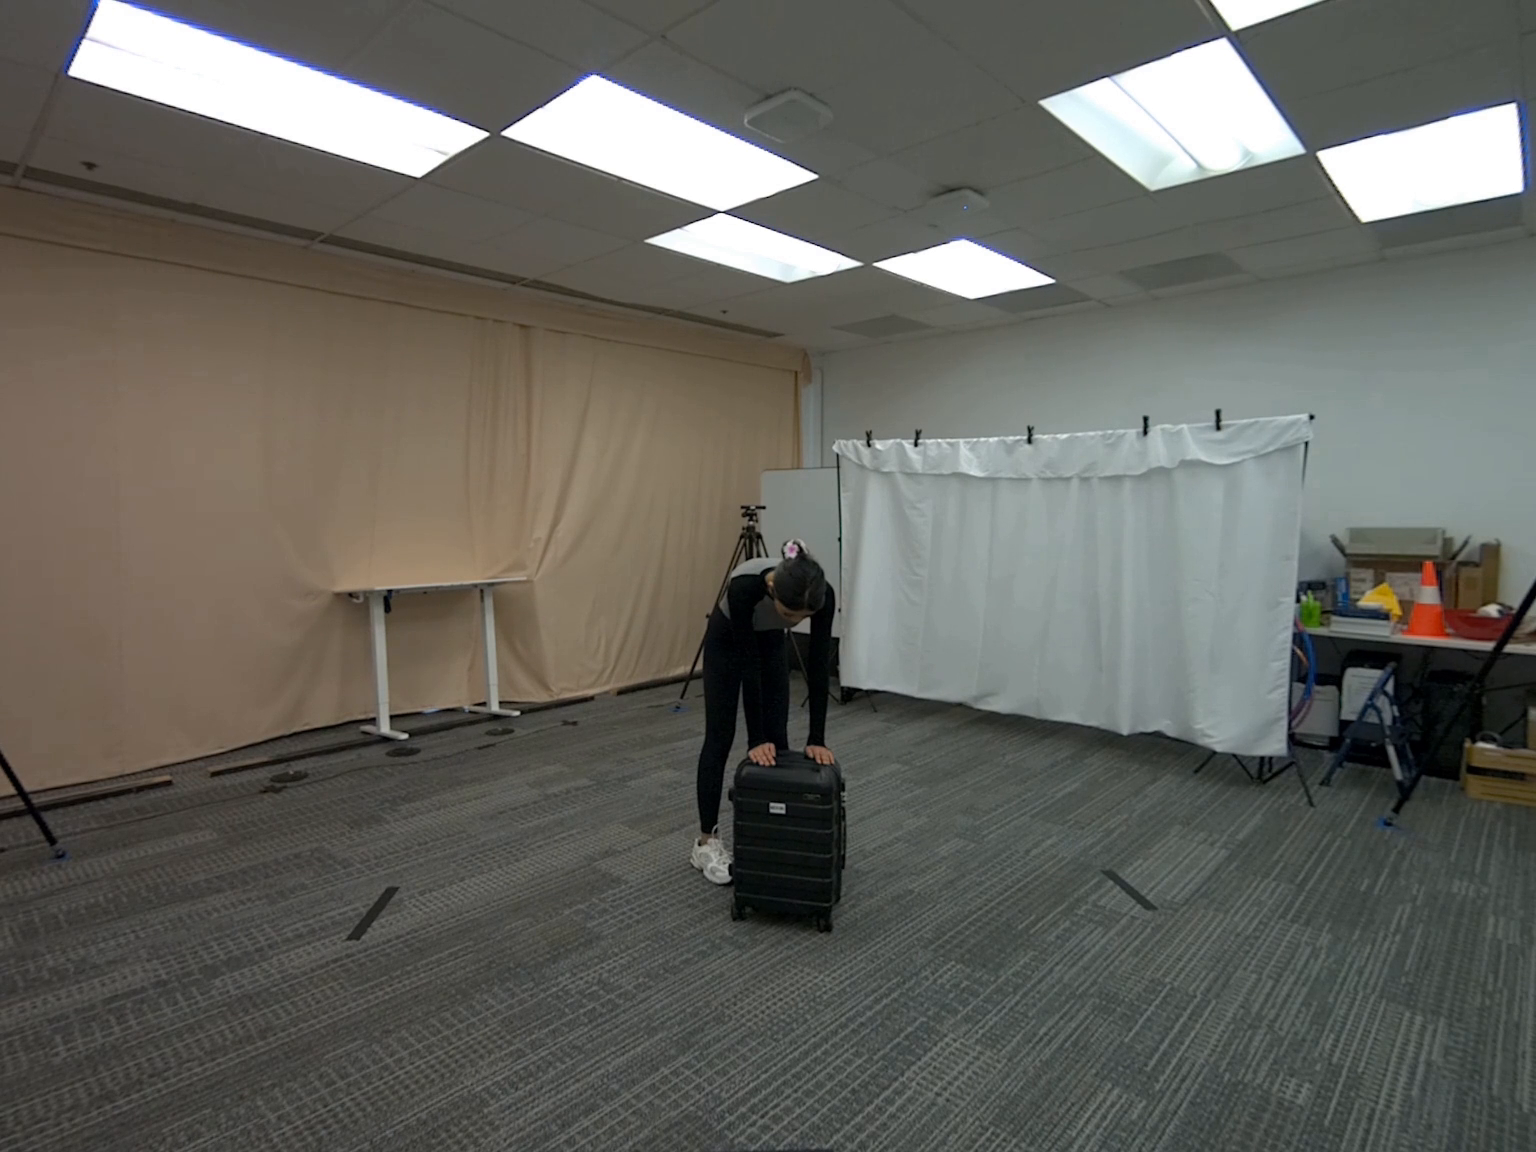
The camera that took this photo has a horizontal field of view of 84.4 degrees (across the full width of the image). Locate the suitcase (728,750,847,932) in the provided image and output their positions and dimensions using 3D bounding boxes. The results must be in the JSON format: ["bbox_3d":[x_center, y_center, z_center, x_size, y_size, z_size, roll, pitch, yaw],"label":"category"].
[{"bbox_3d":[0.075,0.878,2.867,0.382,0.548,0.245,1,5,16],"label":"suitcase"}]
